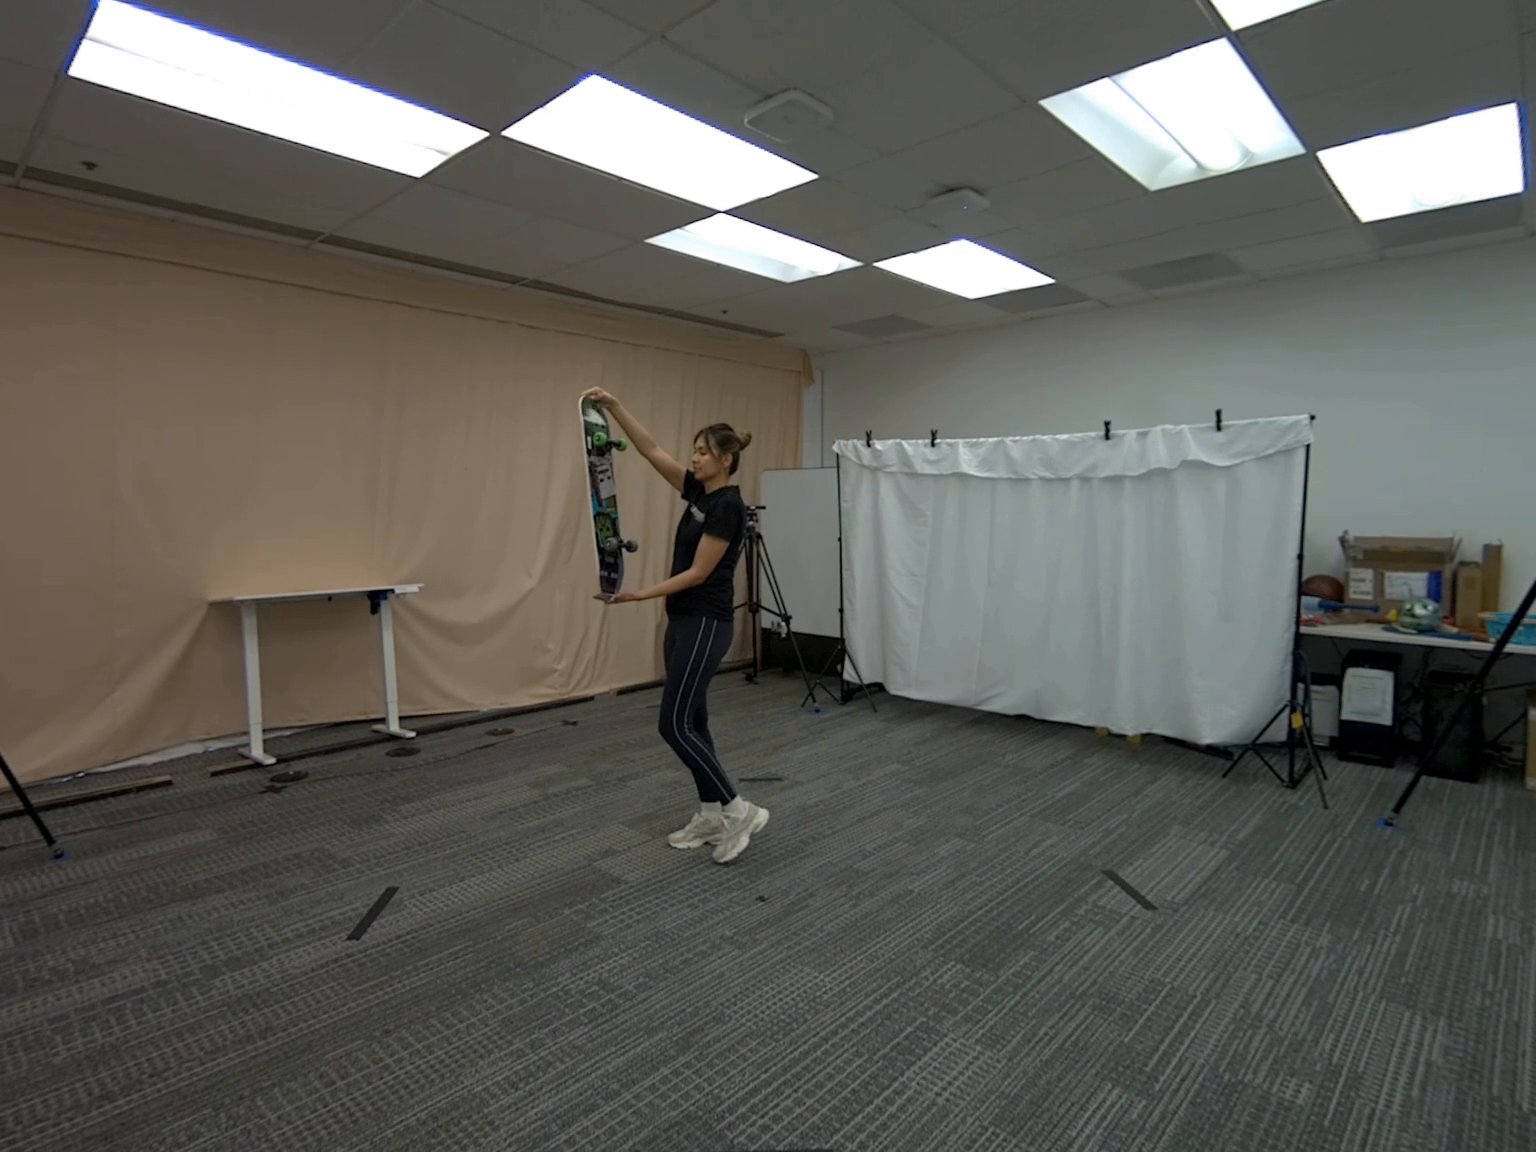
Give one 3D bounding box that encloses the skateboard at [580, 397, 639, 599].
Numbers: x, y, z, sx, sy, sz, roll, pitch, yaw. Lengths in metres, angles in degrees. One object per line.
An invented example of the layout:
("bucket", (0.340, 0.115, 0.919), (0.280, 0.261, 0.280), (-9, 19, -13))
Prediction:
("skateboard", (-0.606, -0.306, 3.198), (0.112, 0.788, 0.189), (-8, -4, 20))
